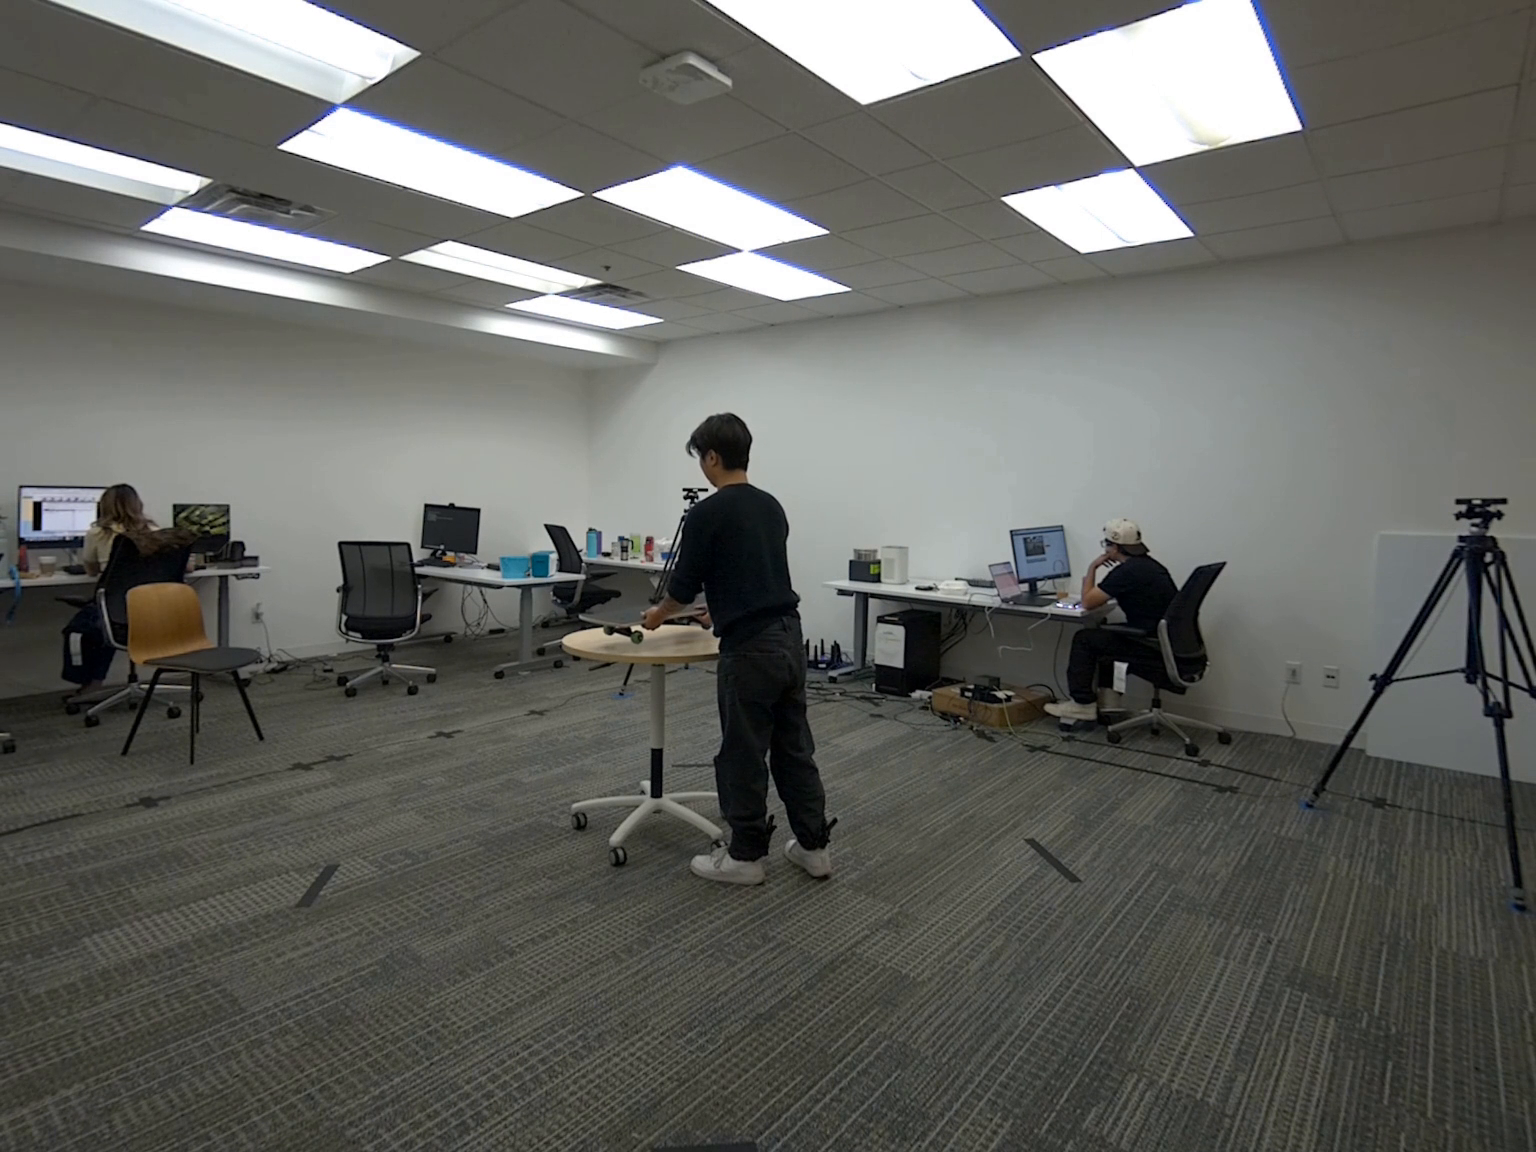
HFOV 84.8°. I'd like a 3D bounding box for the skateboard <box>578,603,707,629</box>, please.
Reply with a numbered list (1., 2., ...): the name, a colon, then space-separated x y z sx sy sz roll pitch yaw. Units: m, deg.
1. skateboard: -0.427 0.177 3.412 0.200 0.109 0.763 10 11 39
